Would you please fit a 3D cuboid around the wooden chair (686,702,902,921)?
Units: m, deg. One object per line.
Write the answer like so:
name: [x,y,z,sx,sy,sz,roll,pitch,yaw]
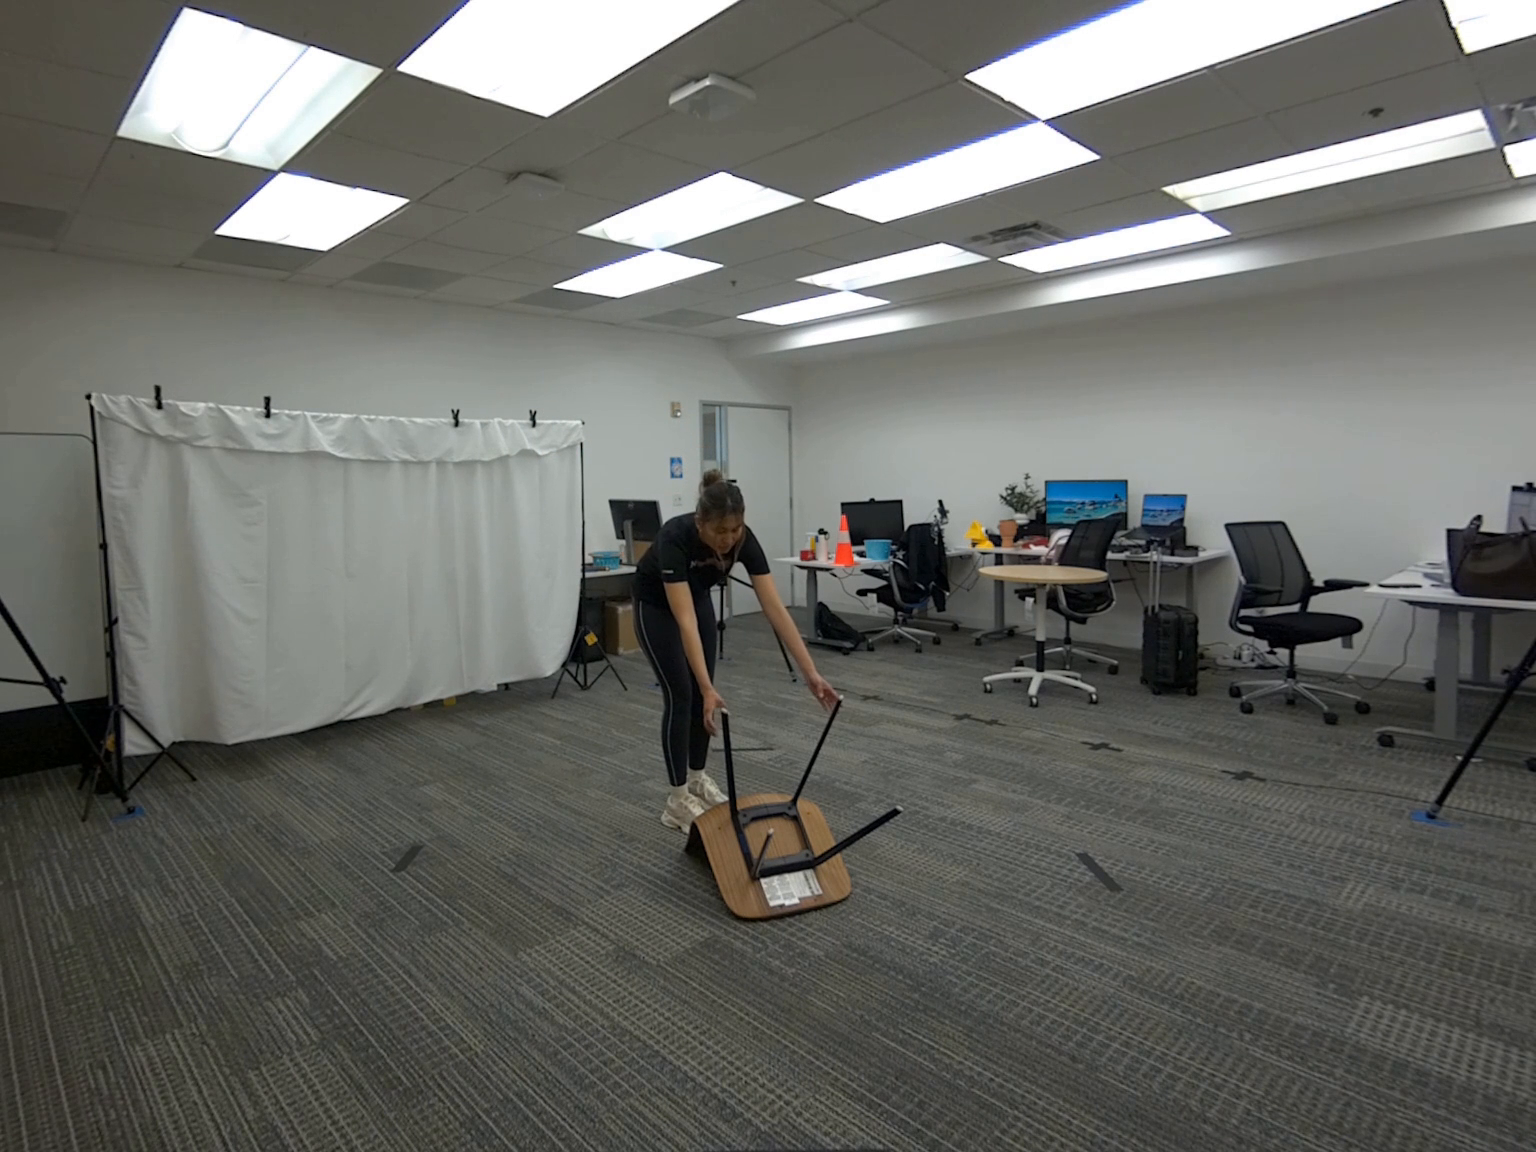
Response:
wooden chair: [0.026,0.896,2.913,0.468,0.864,0.542,-2,46,-25]
